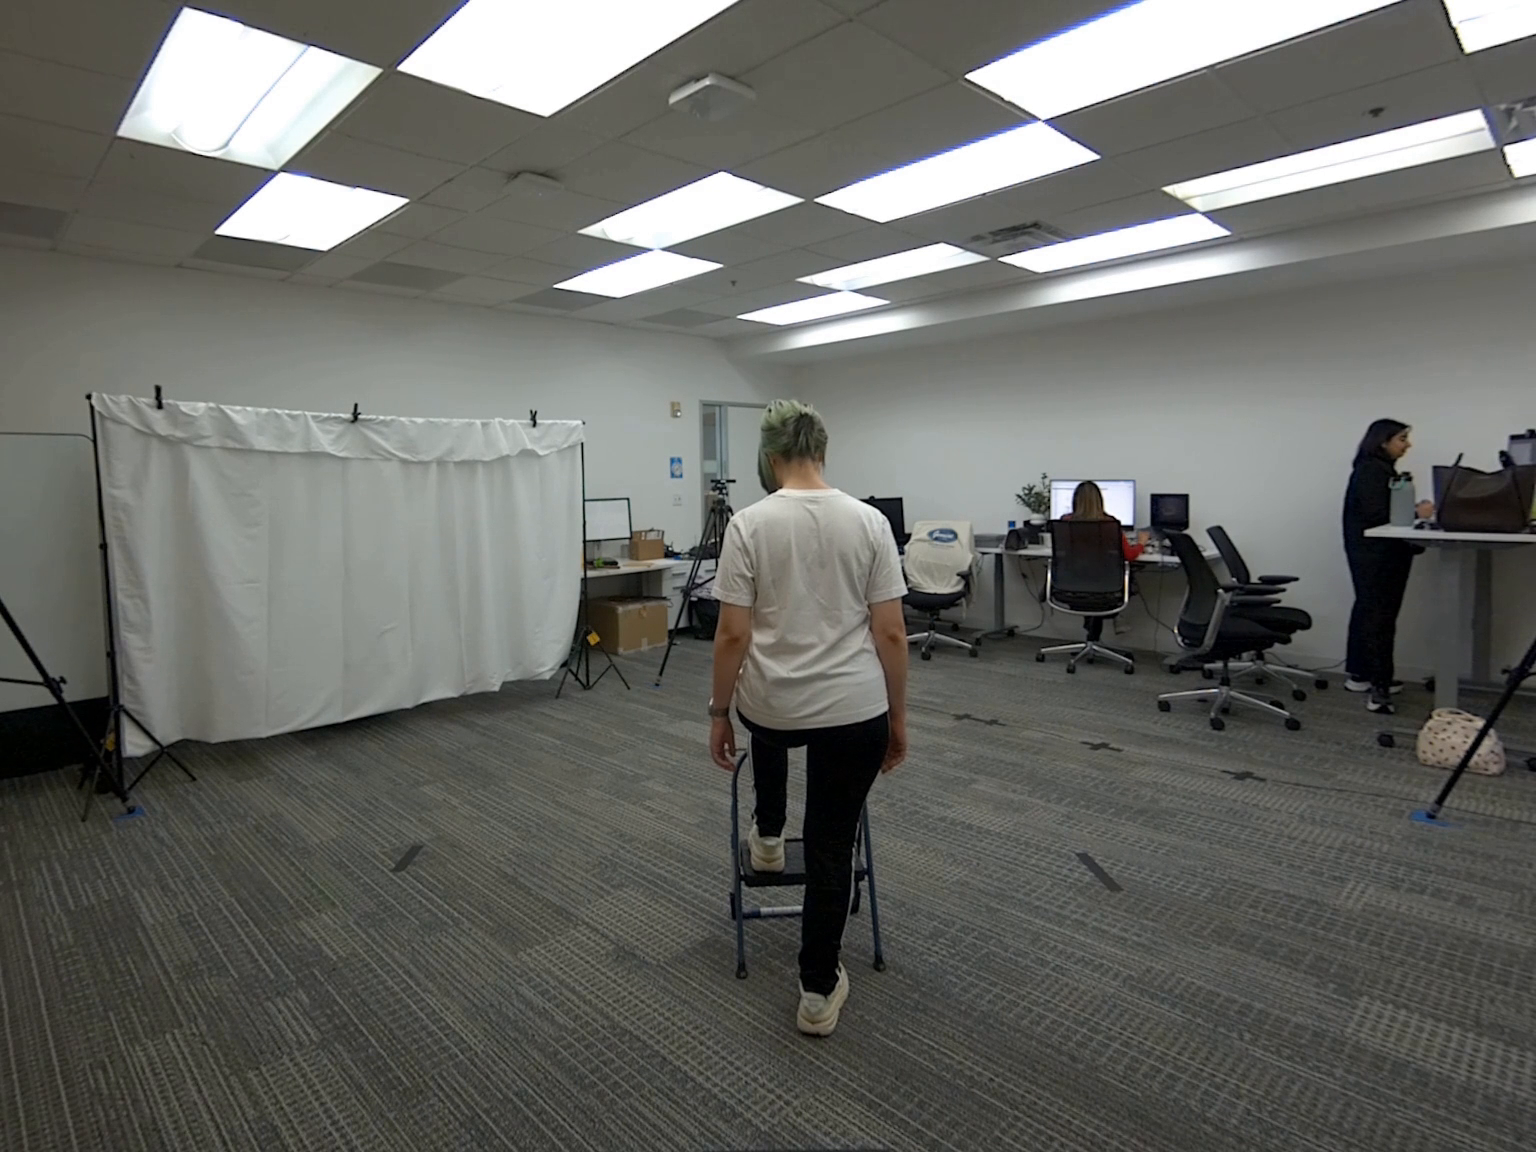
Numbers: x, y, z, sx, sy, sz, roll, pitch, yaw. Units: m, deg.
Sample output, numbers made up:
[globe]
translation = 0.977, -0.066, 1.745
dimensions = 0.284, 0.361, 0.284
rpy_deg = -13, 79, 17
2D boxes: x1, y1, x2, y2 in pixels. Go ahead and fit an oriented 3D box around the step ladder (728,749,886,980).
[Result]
[step ladder]
translation = 0.106, 0.810, 2.563
dimensions = 0.429, 0.603, 0.352
rpy_deg = -2, 5, -5
